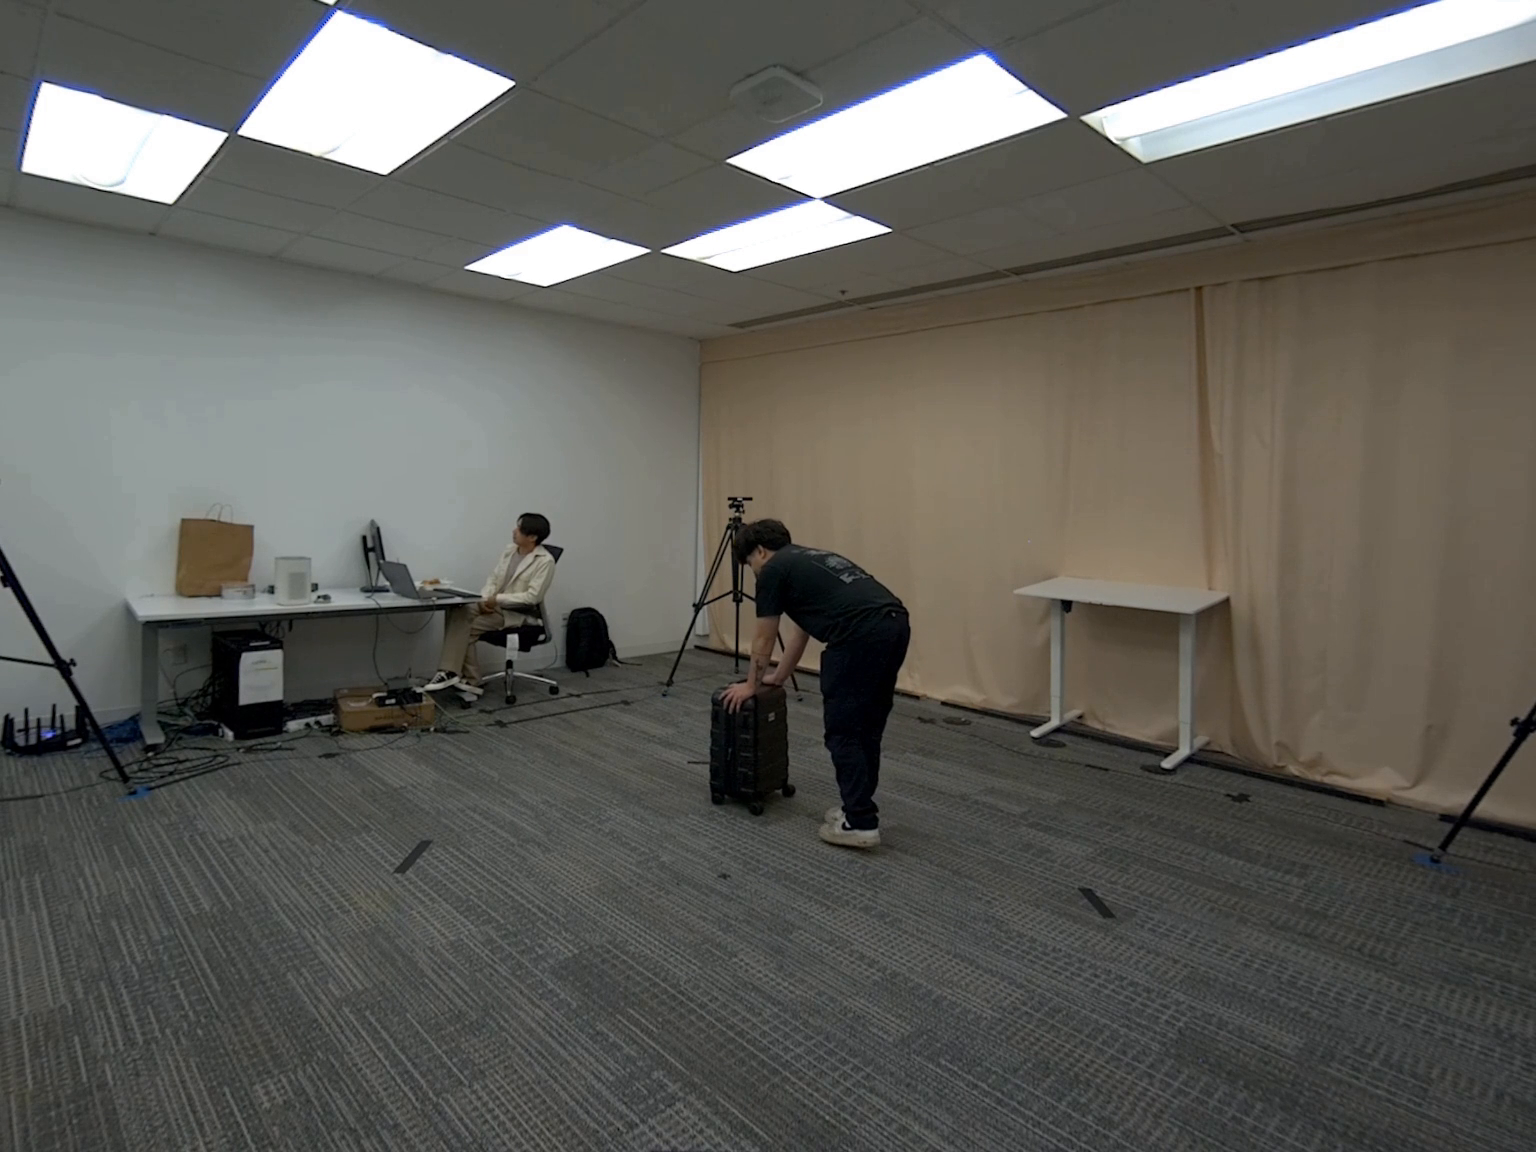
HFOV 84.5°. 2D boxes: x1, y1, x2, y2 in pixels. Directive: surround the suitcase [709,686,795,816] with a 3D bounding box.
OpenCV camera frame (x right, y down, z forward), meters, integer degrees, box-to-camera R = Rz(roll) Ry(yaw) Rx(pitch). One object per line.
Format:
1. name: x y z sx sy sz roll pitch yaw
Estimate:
1. suitcase: -0.088 0.764 3.917 0.253 0.549 0.368 1 2 30
